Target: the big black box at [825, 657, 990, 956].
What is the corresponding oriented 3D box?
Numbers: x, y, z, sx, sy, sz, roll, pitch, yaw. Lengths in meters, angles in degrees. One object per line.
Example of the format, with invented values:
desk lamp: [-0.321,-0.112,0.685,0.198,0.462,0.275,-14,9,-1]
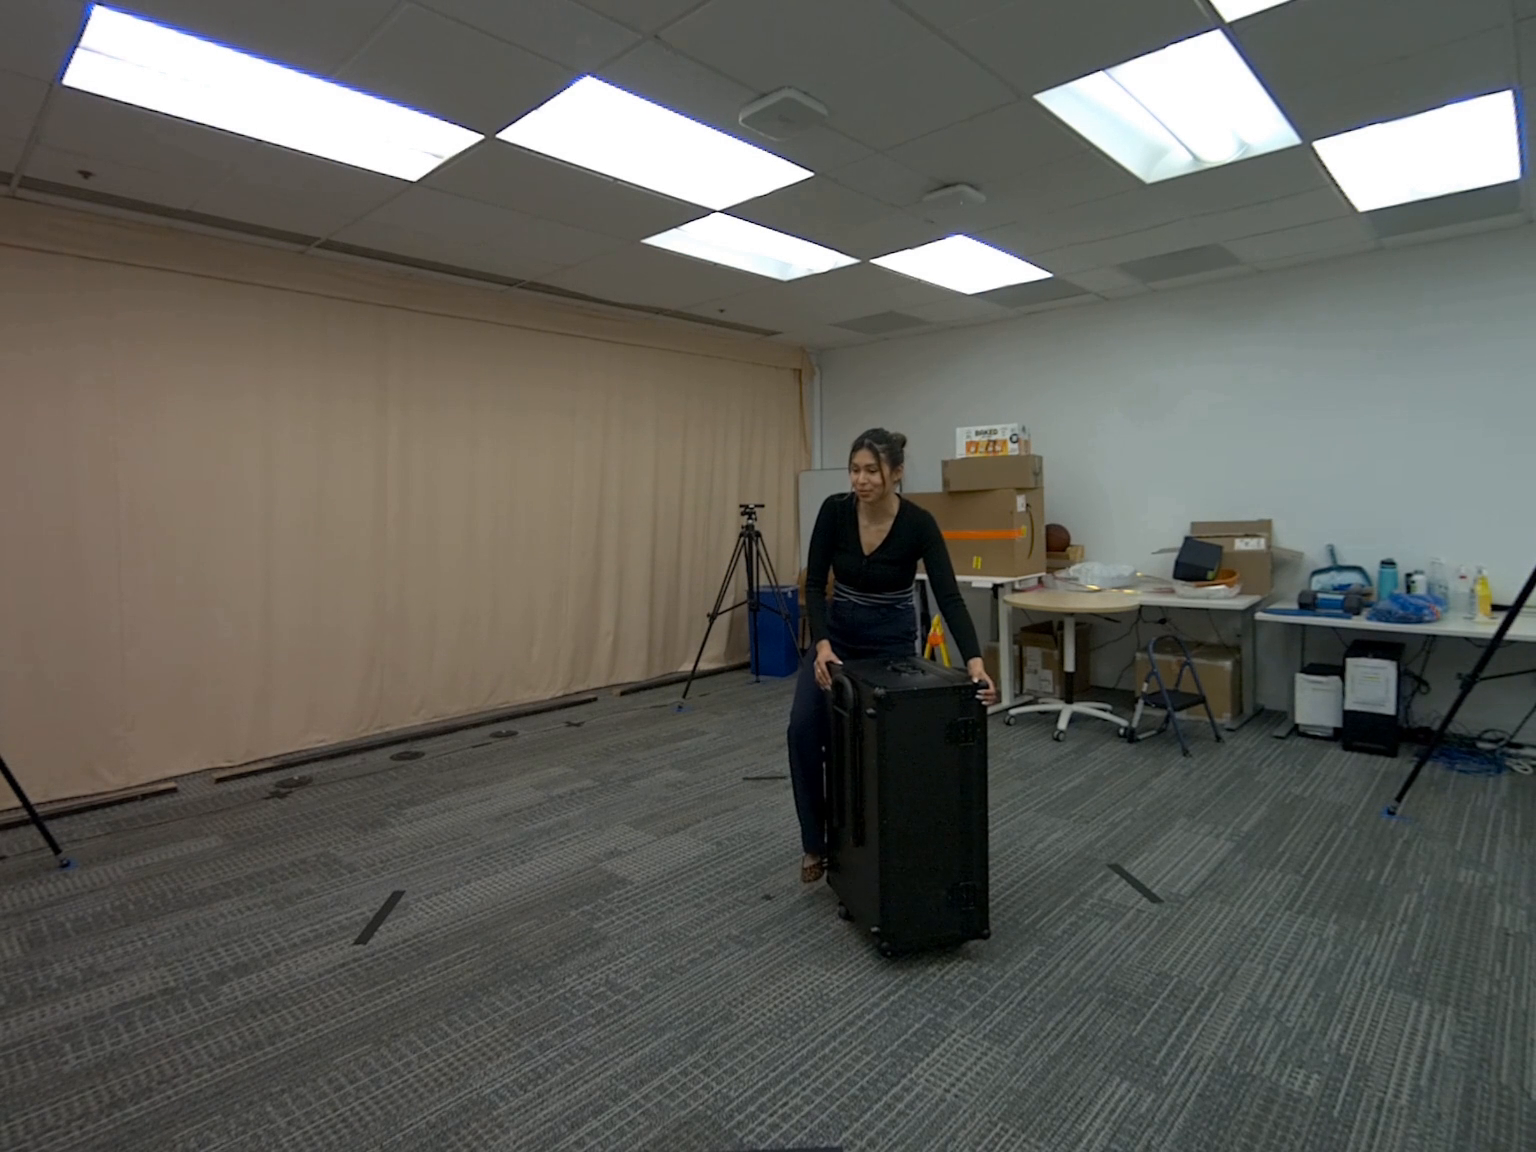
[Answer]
big black box: [0.429,0.732,2.702,0.391,0.859,0.529,-3,3,-13]
